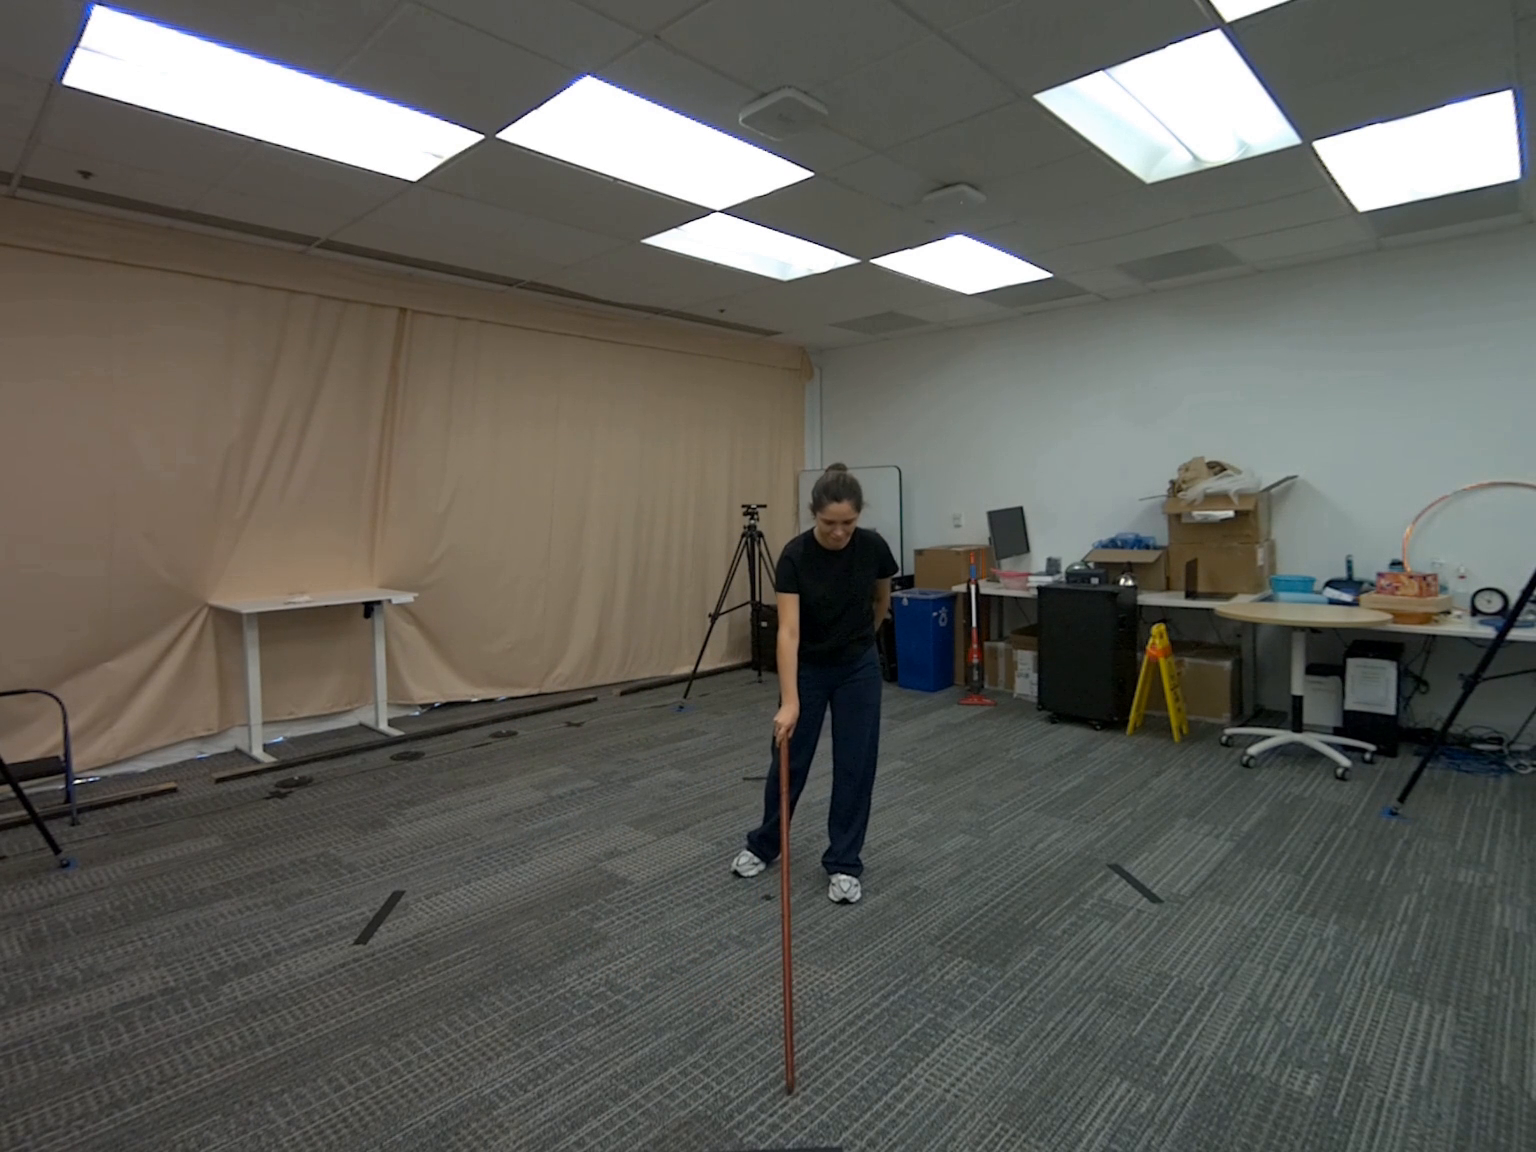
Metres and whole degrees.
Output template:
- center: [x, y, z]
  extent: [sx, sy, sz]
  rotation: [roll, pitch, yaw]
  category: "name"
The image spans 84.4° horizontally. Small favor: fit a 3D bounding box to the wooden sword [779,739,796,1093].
- center: [0.075, 0.828, 2.346]
  extent: [0.024, 0.050, 1.043]
  rotation: [-12, 45, 12]
  category: "wooden sword"
